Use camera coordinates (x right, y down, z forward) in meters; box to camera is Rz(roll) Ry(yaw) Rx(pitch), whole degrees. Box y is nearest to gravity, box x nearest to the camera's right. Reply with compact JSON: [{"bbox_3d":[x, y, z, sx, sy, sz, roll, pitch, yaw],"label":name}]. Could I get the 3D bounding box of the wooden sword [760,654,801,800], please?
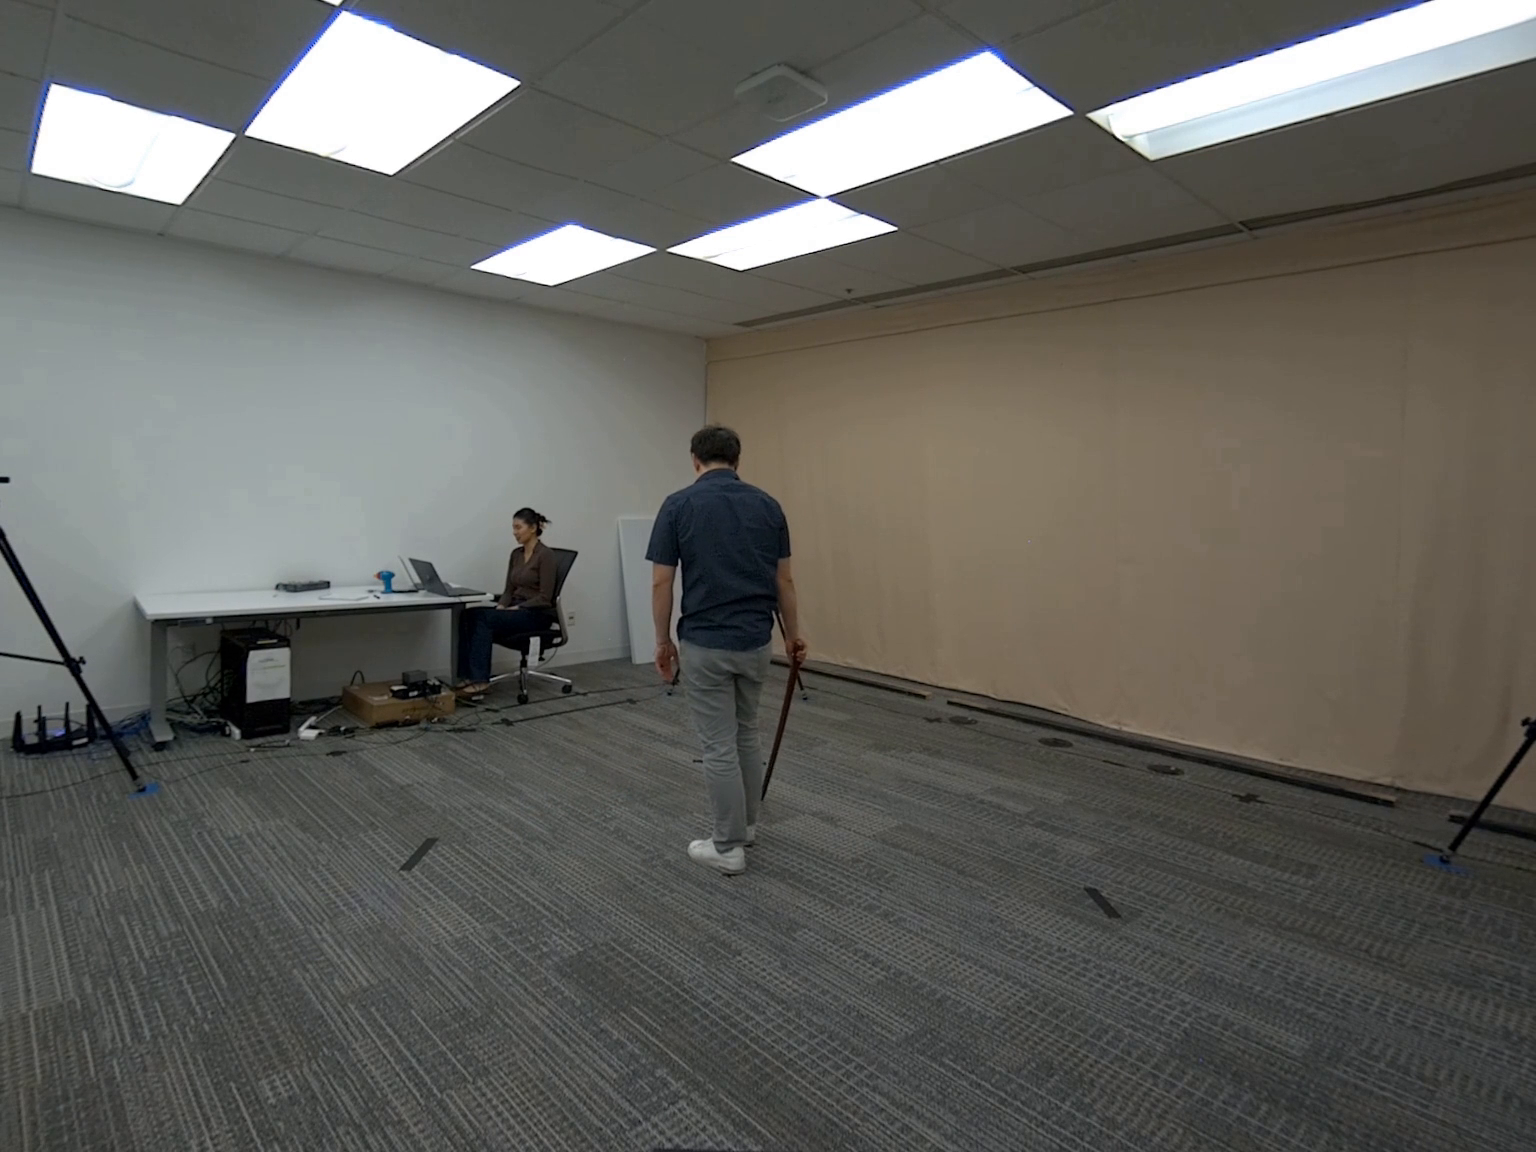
[{"bbox_3d":[0.034,0.662,3.582,0.050,1.008,0.025,-5,42,-20],"label":"wooden sword"}]
